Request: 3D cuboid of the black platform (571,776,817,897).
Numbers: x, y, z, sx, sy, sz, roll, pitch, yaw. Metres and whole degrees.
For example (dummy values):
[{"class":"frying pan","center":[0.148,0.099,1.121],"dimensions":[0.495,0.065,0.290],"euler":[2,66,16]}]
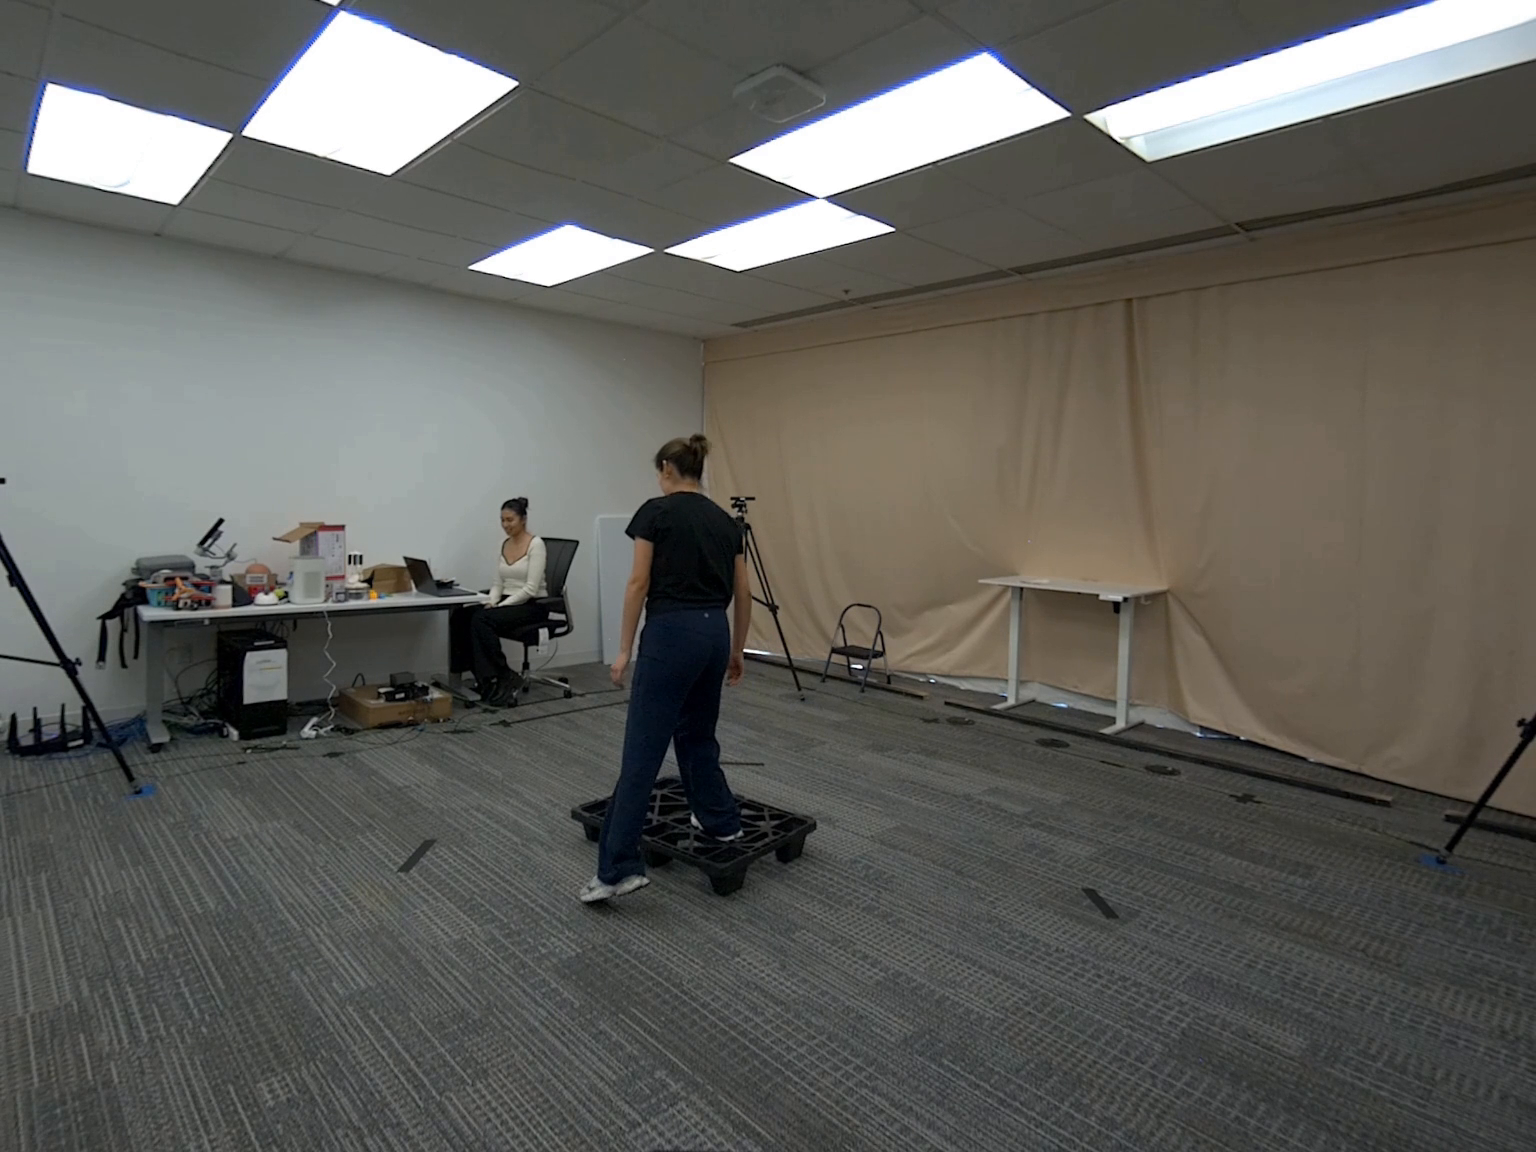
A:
[{"class":"black platform","center":[-0.303,1.016,3.327],"dimensions":[0.825,0.143,0.592],"euler":[5,7,38]}]
